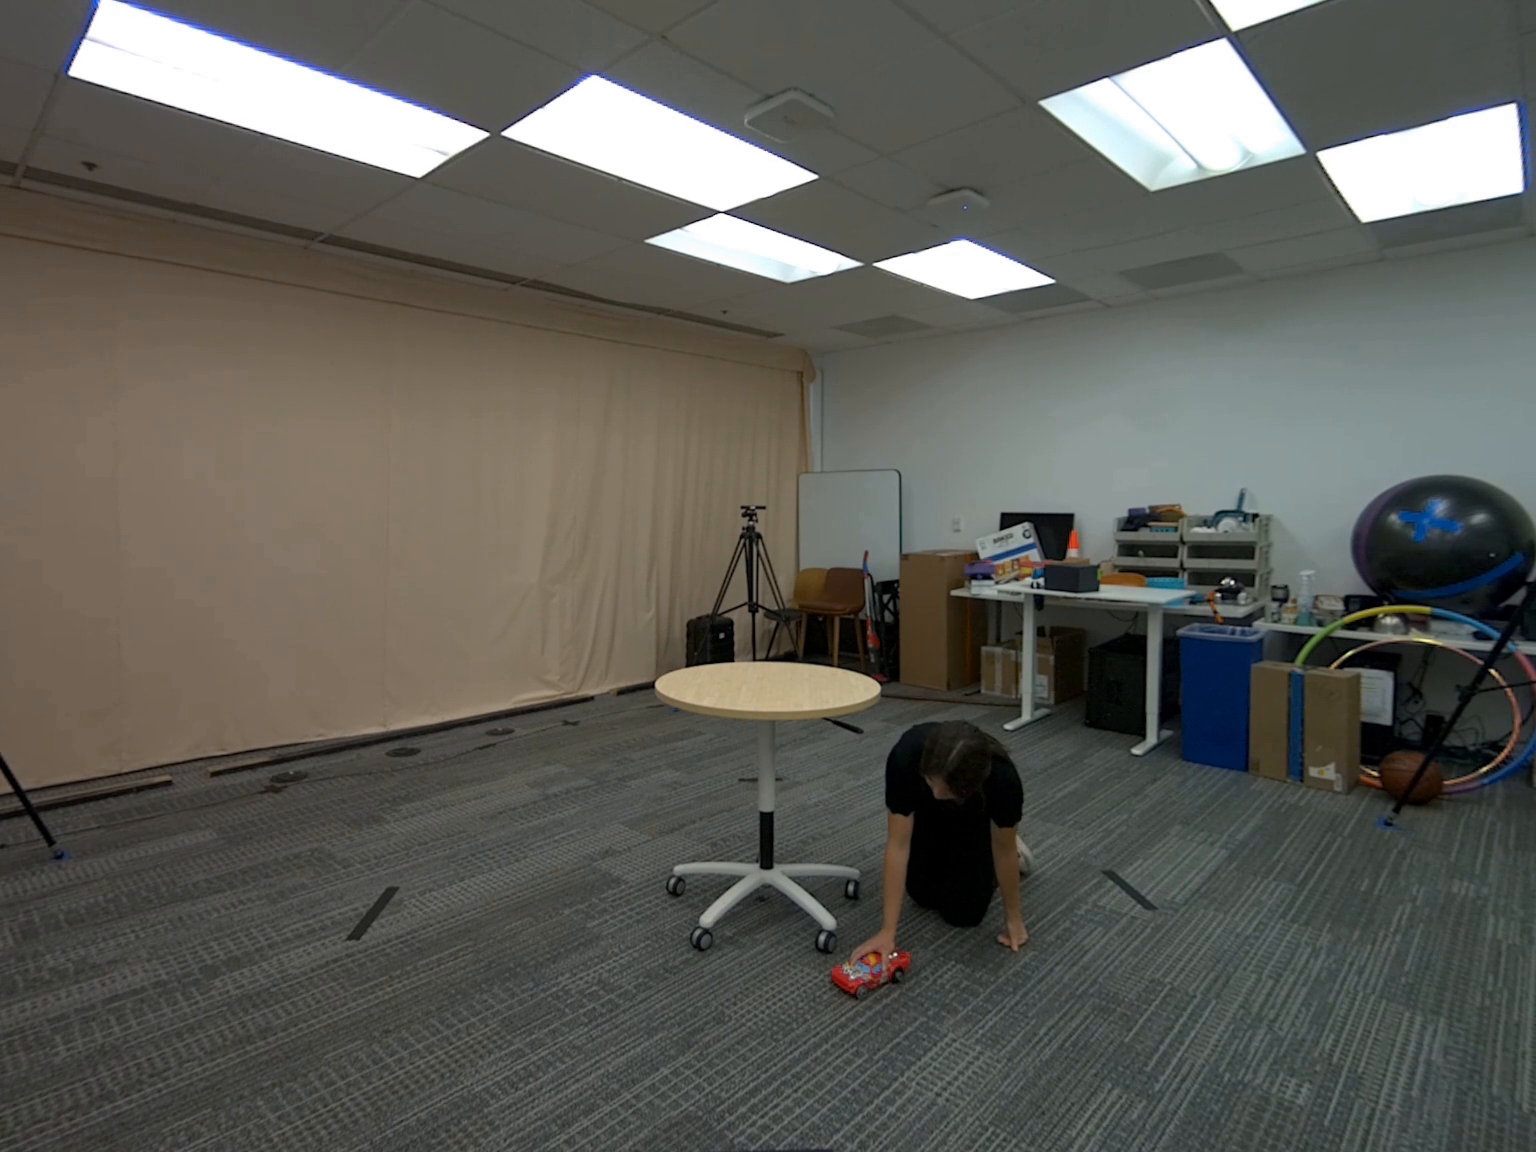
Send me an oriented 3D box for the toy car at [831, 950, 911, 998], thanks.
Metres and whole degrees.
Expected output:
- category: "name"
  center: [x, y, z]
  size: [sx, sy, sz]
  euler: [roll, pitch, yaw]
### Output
- category: "toy car"
  center: [0.318, 1.159, 2.464]
  size: [0.248, 0.082, 0.134]
  euler: [-15, 12, -33]
